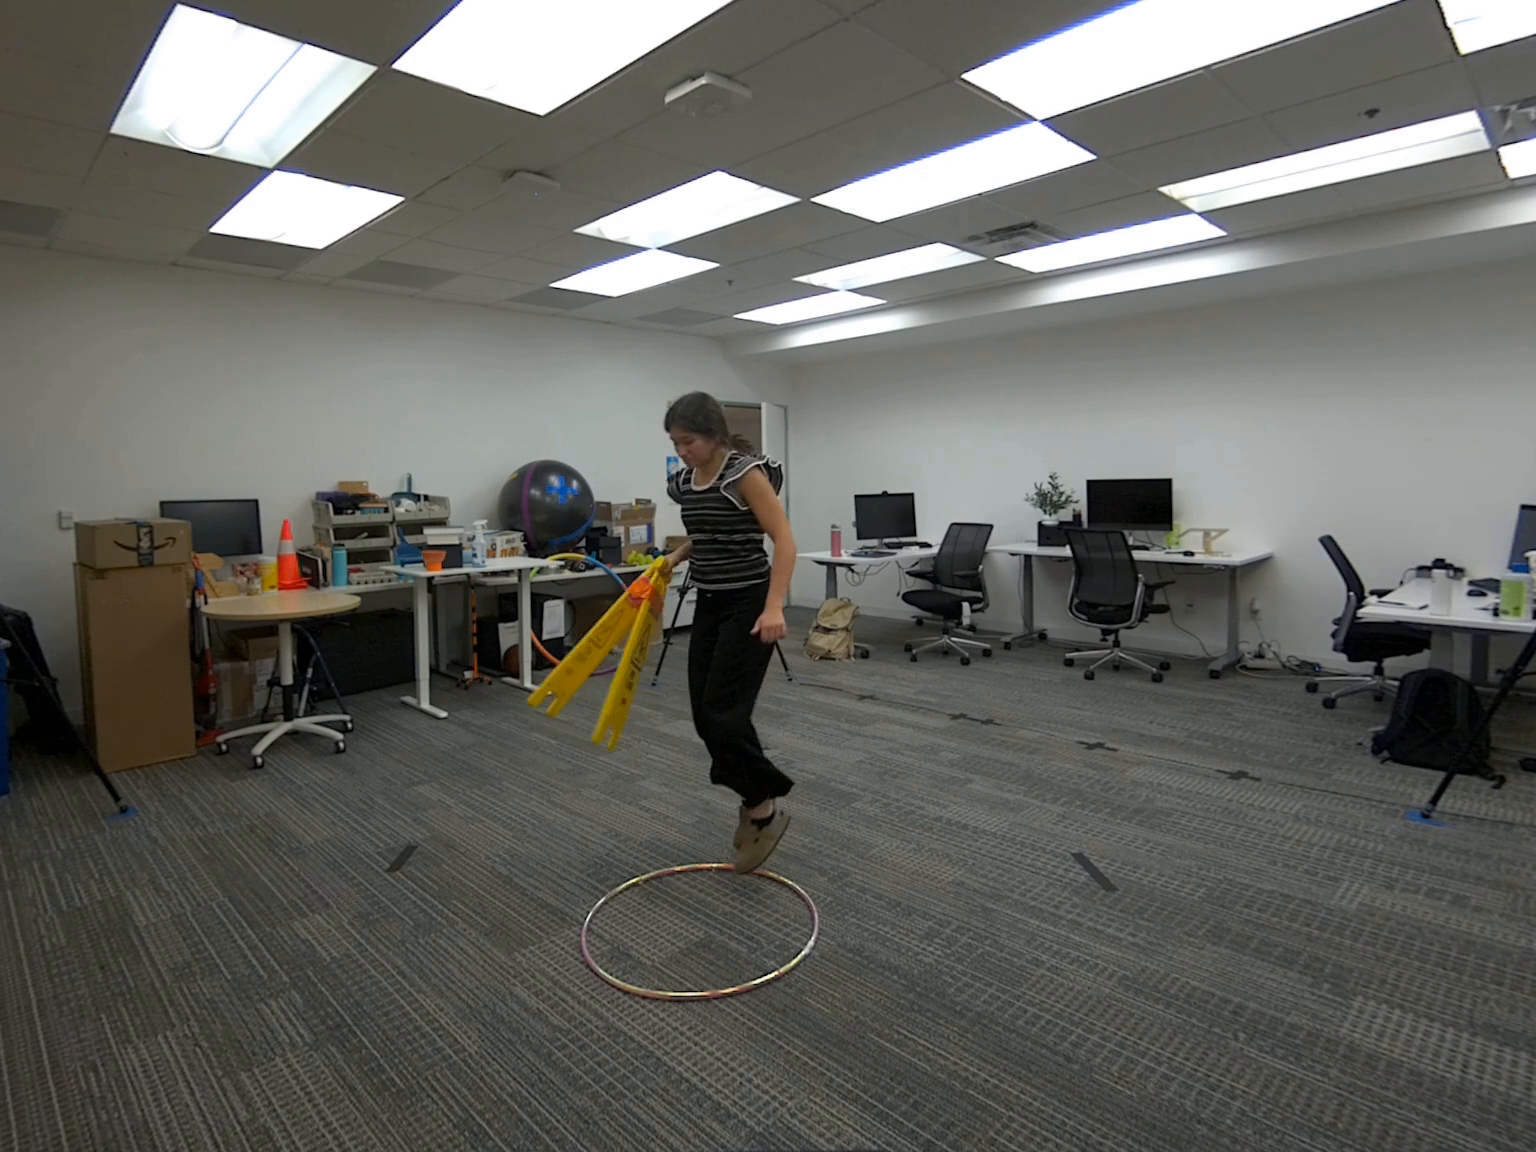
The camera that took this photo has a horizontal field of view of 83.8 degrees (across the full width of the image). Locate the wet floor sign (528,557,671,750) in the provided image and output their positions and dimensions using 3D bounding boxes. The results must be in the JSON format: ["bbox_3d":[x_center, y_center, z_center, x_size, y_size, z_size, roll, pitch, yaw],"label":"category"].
[{"bbox_3d":[-0.477,0.278,2.920,0.294,0.649,0.276,25,-15,11],"label":"wet floor sign"}]
